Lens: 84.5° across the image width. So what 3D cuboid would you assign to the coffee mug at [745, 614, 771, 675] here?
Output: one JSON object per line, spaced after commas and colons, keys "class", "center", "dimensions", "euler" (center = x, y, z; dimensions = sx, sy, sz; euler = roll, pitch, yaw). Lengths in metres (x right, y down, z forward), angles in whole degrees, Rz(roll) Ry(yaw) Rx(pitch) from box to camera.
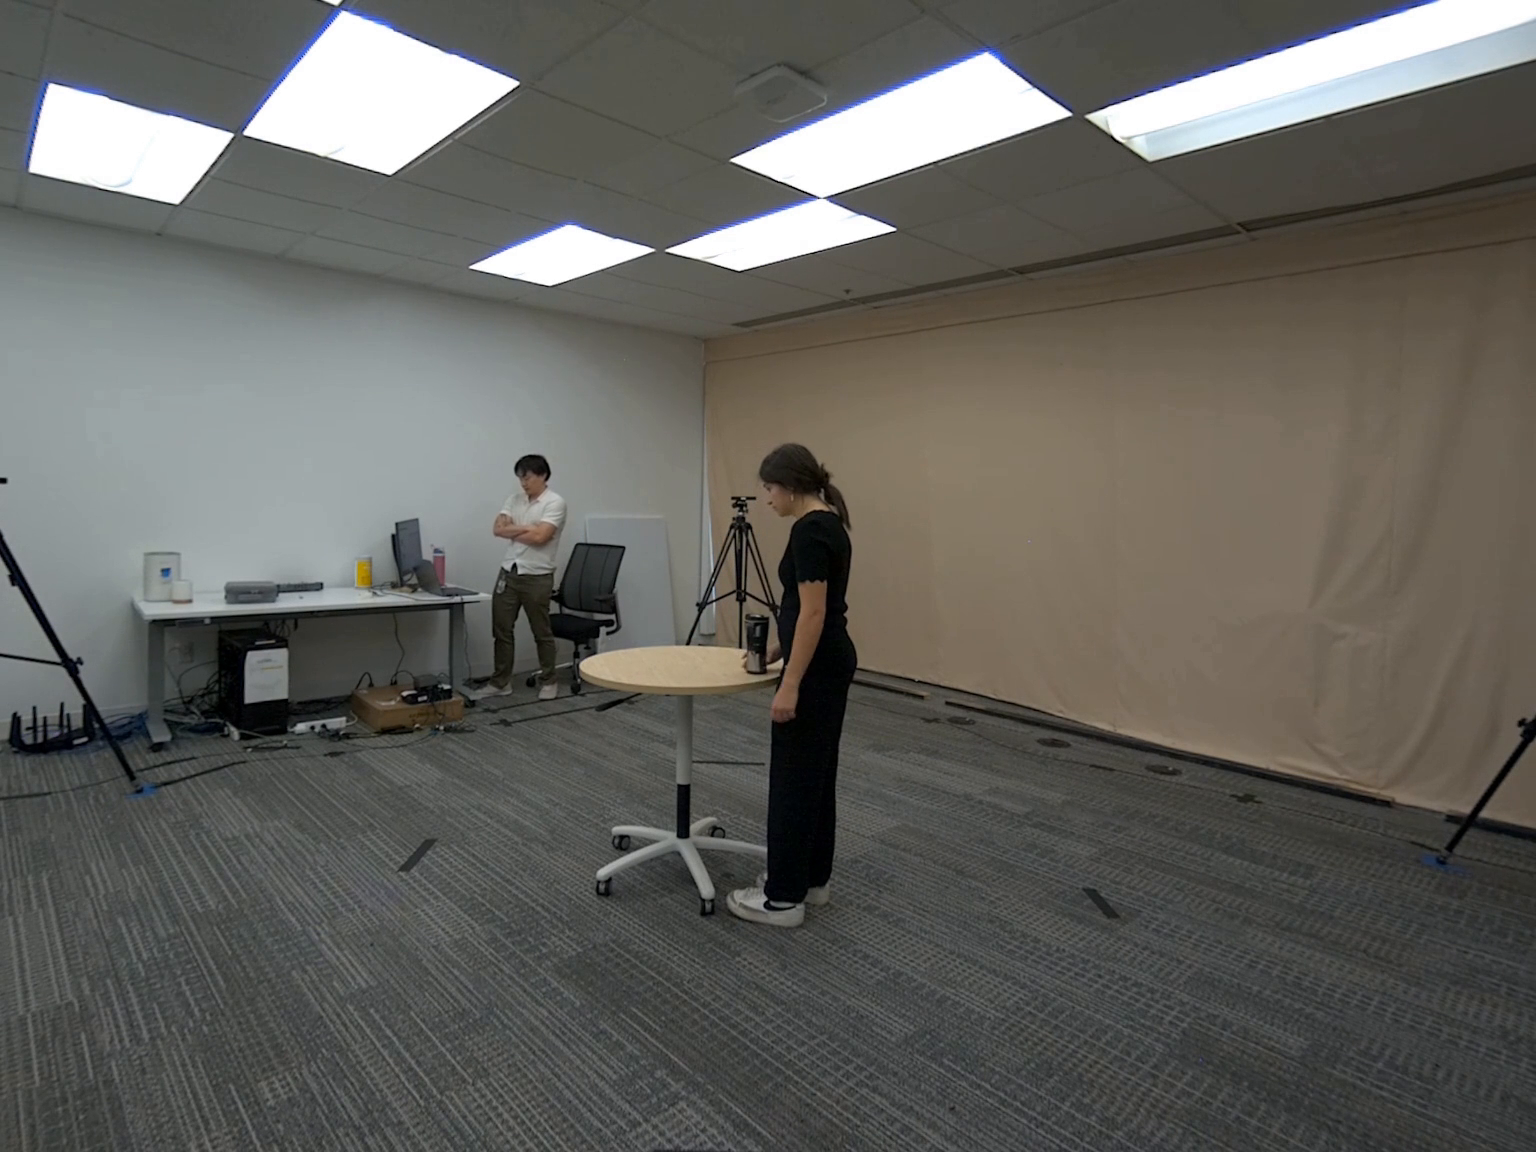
{"class": "coffee mug", "center": [-0.059, 0.236, 2.898], "dimensions": [0.090, 0.203, 0.119], "euler": [5, 1, 40]}
